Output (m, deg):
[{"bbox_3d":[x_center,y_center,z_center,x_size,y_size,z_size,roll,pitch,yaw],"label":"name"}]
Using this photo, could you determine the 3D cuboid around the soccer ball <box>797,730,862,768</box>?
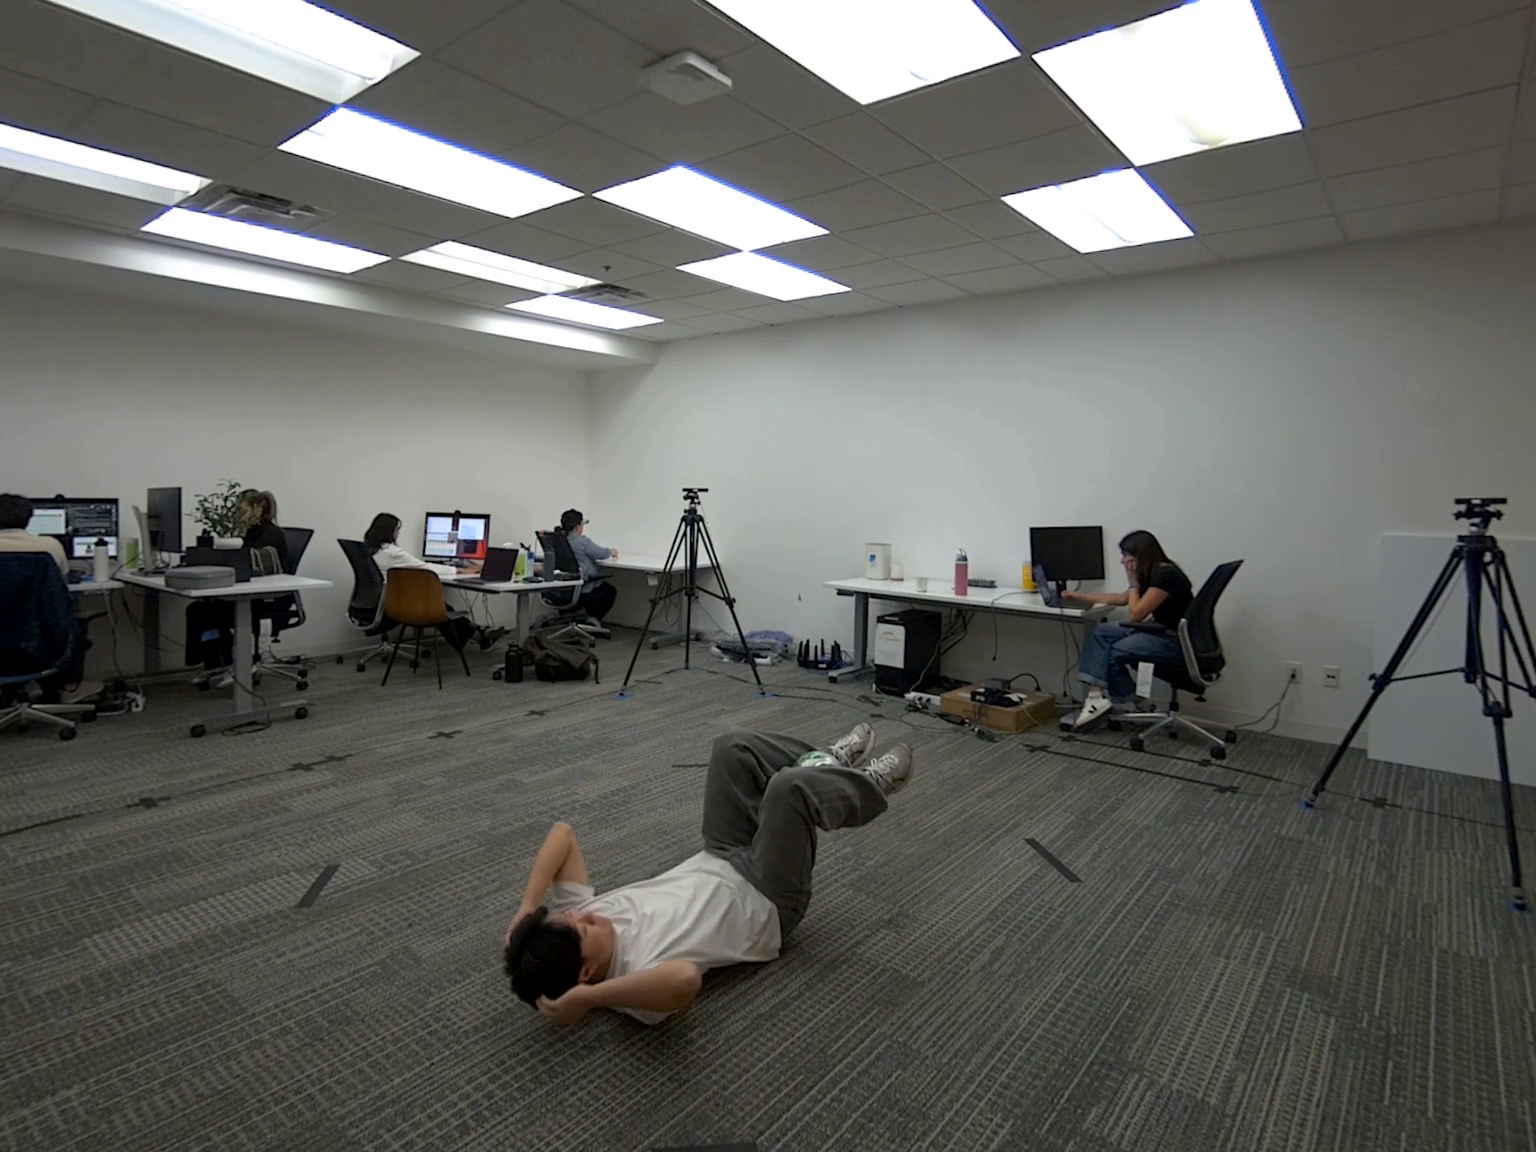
[{"bbox_3d":[0.172,0.659,2.786,0.187,0.187,0.188,1,4,-2],"label":"soccer ball"}]
